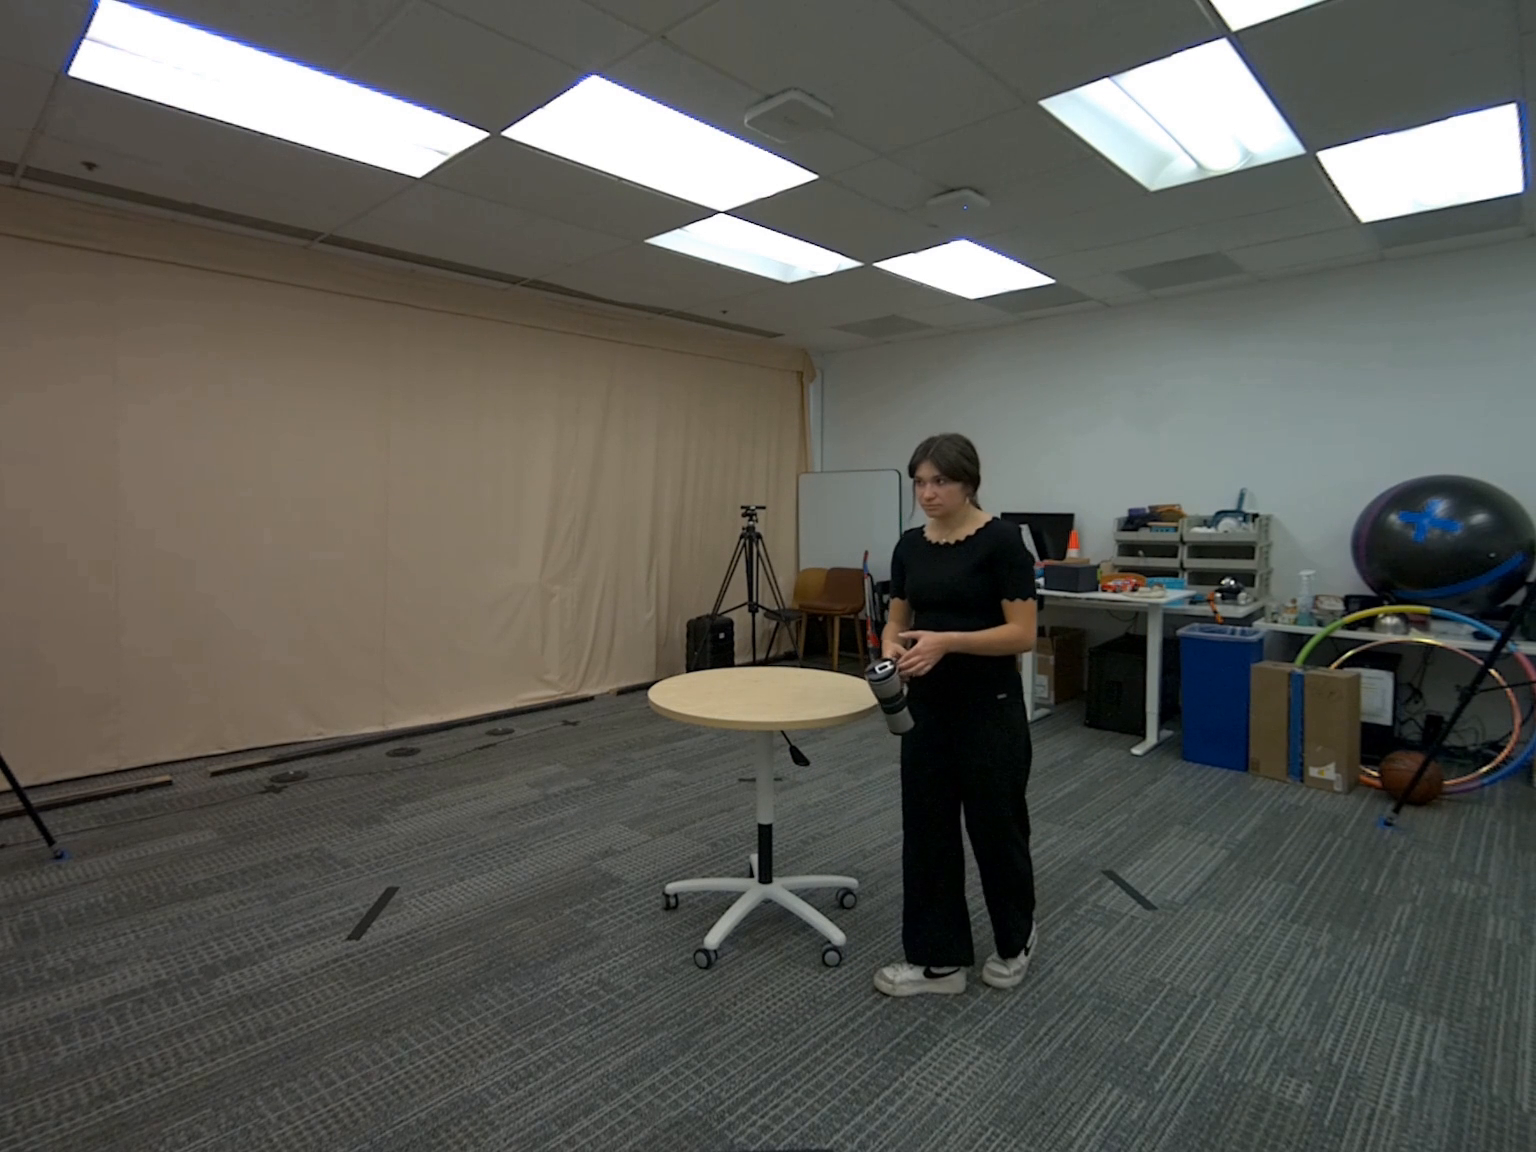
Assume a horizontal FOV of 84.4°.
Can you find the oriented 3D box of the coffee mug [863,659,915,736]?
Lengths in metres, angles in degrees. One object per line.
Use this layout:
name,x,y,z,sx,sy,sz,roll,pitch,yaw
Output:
coffee mug,0.369,0.334,2.219,0.124,0.200,0.088,-19,15,19
